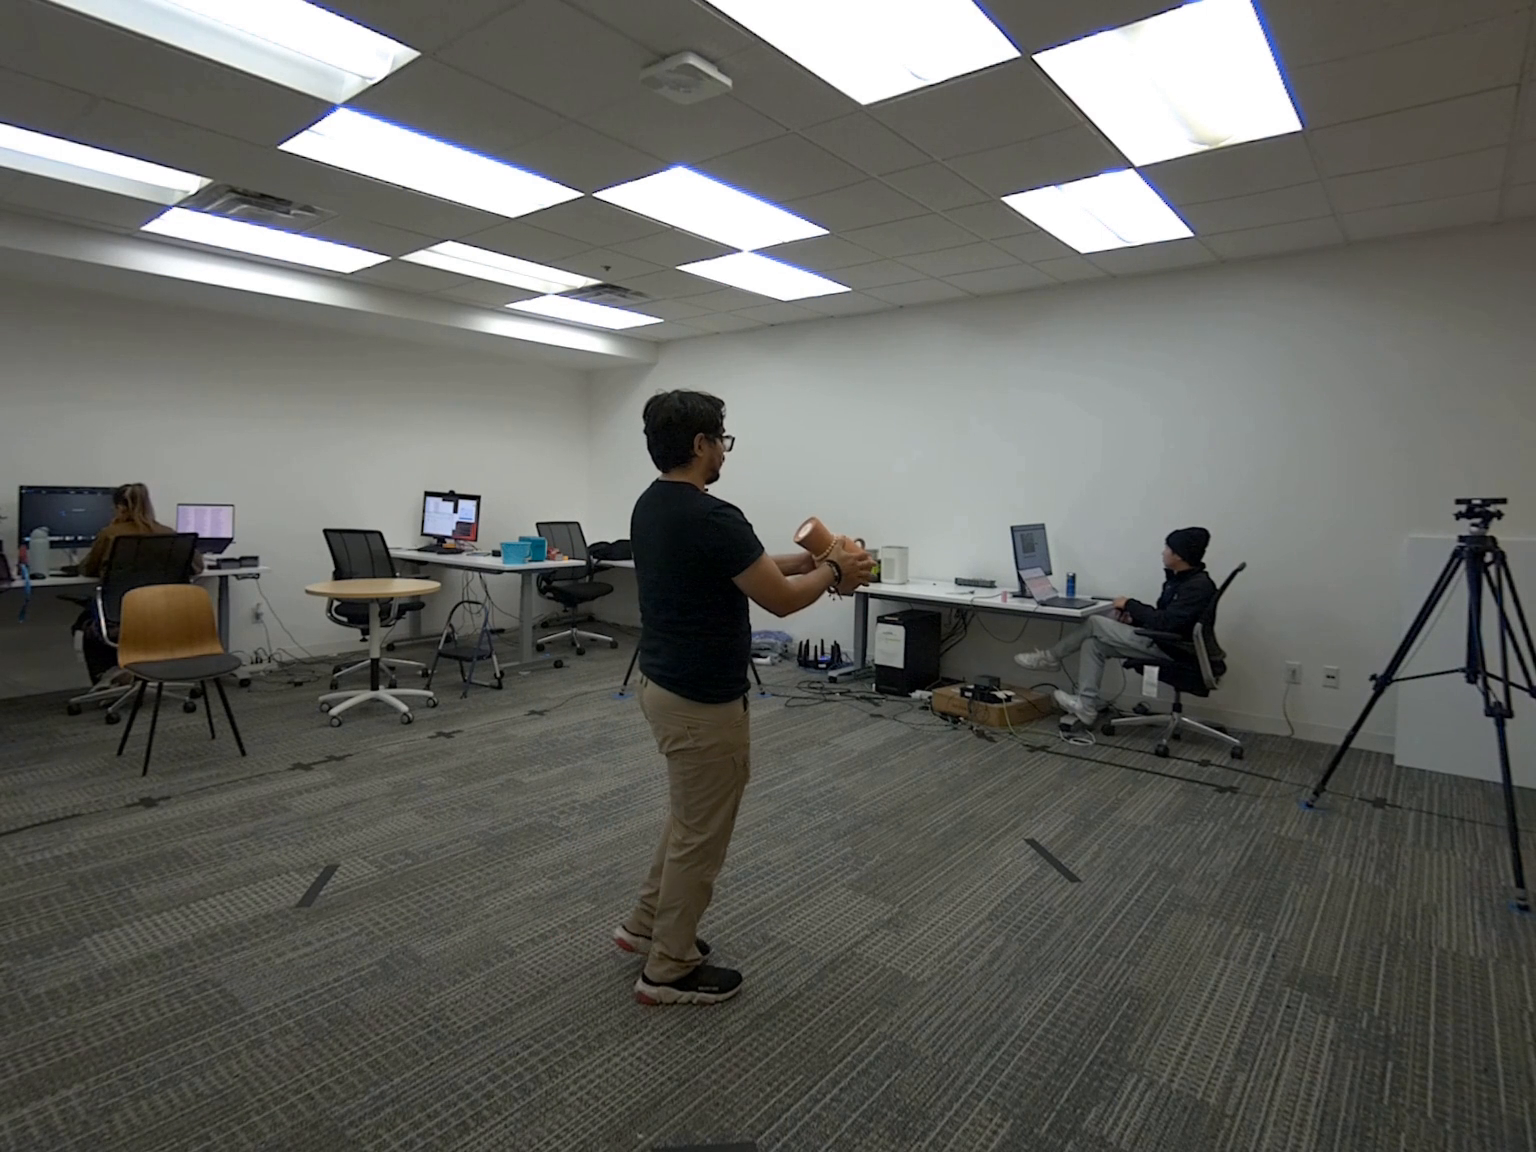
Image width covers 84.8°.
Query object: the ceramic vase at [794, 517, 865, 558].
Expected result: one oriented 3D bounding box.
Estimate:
[{"bbox_3d":[0.178,-0.068,2.474,0.135,0.215,0.162,-41,19,30],"label":"ceramic vase"}]
